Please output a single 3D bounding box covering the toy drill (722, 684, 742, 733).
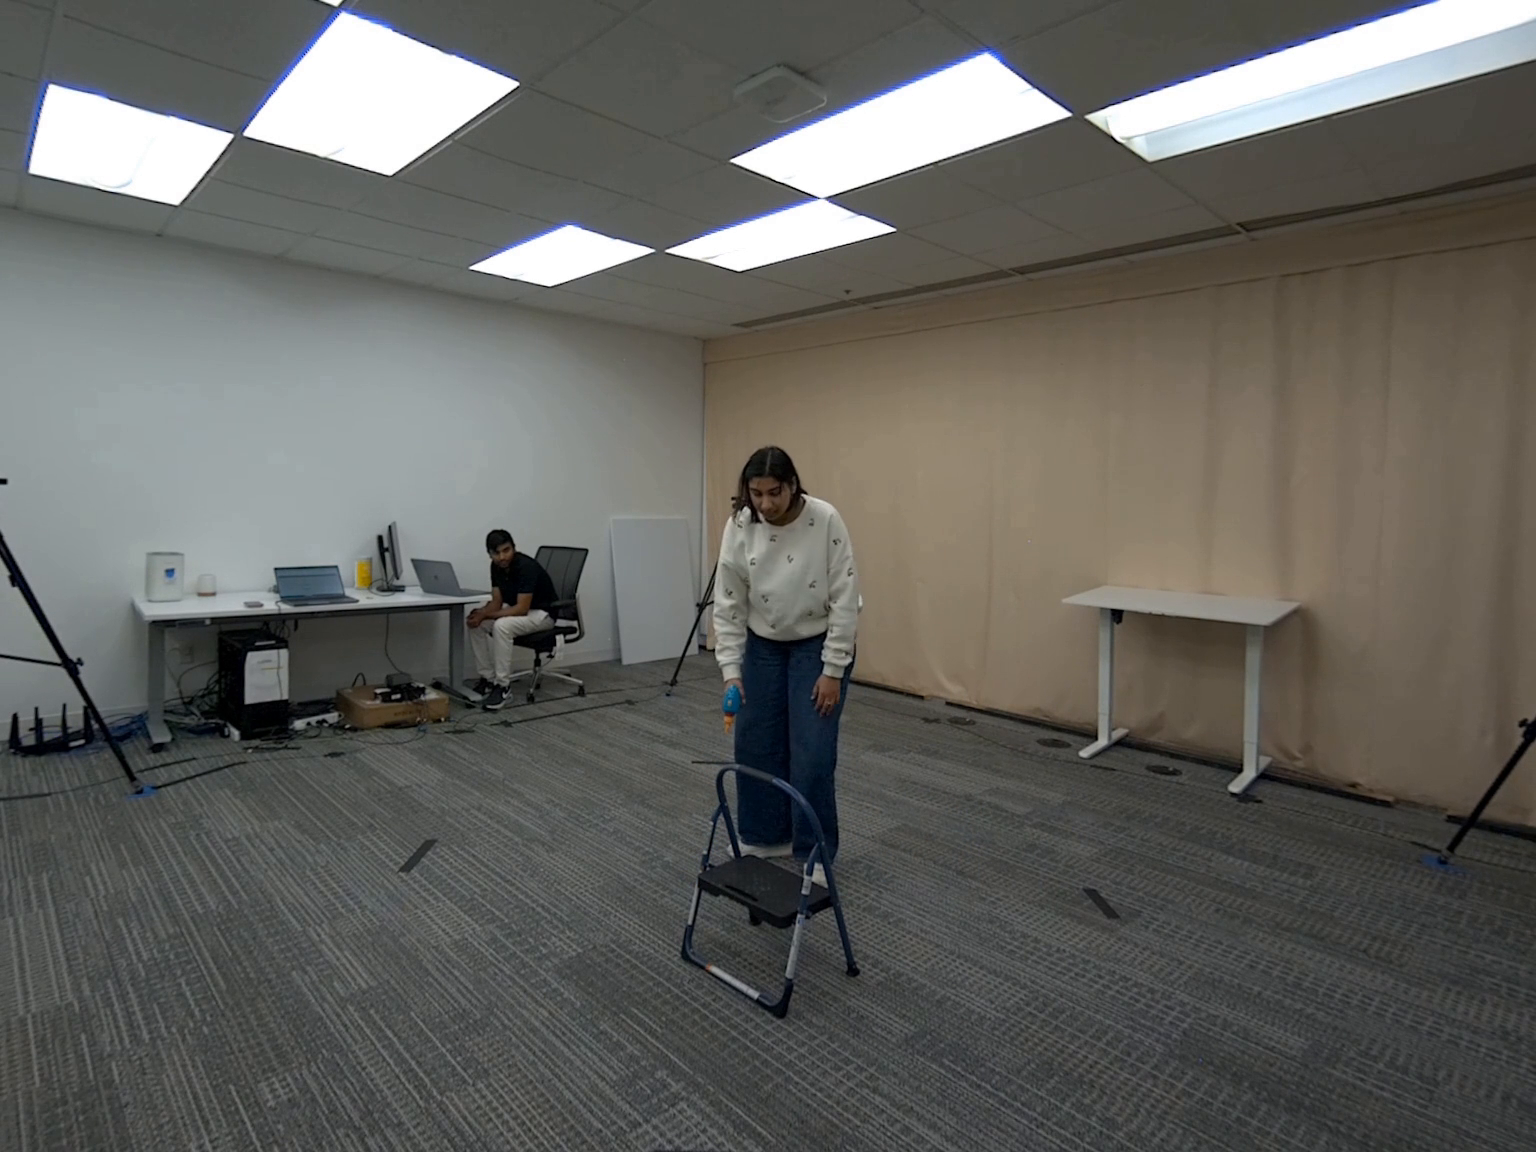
[{"bbox_3d":[-0.135,0.477,2.984,0.062,0.171,0.143,6,-9,16],"label":"toy drill"}]
